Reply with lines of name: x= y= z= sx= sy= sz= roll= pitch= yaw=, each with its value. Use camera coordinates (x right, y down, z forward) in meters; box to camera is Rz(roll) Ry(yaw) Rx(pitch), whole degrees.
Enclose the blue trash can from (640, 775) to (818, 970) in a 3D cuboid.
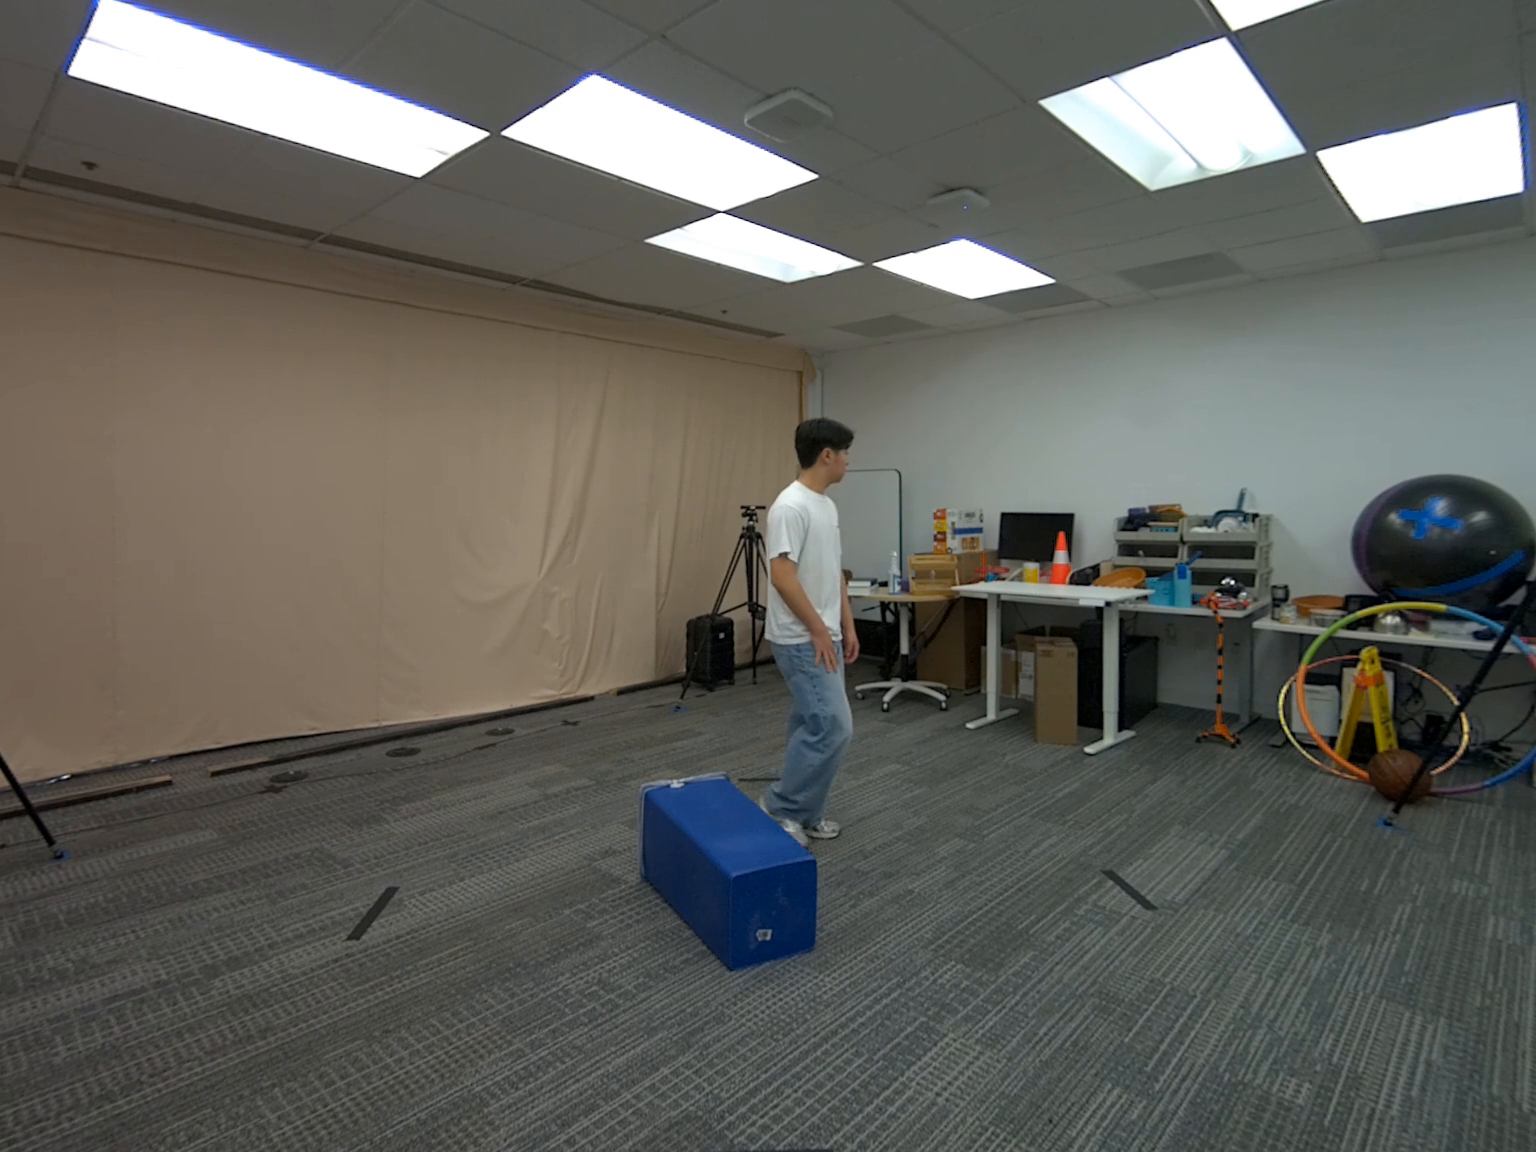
blue trash can: x=-0.144 y=0.989 z=2.877 sx=0.364 sy=0.377 sz=0.734 roll=-2 pitch=7 yaw=-28
